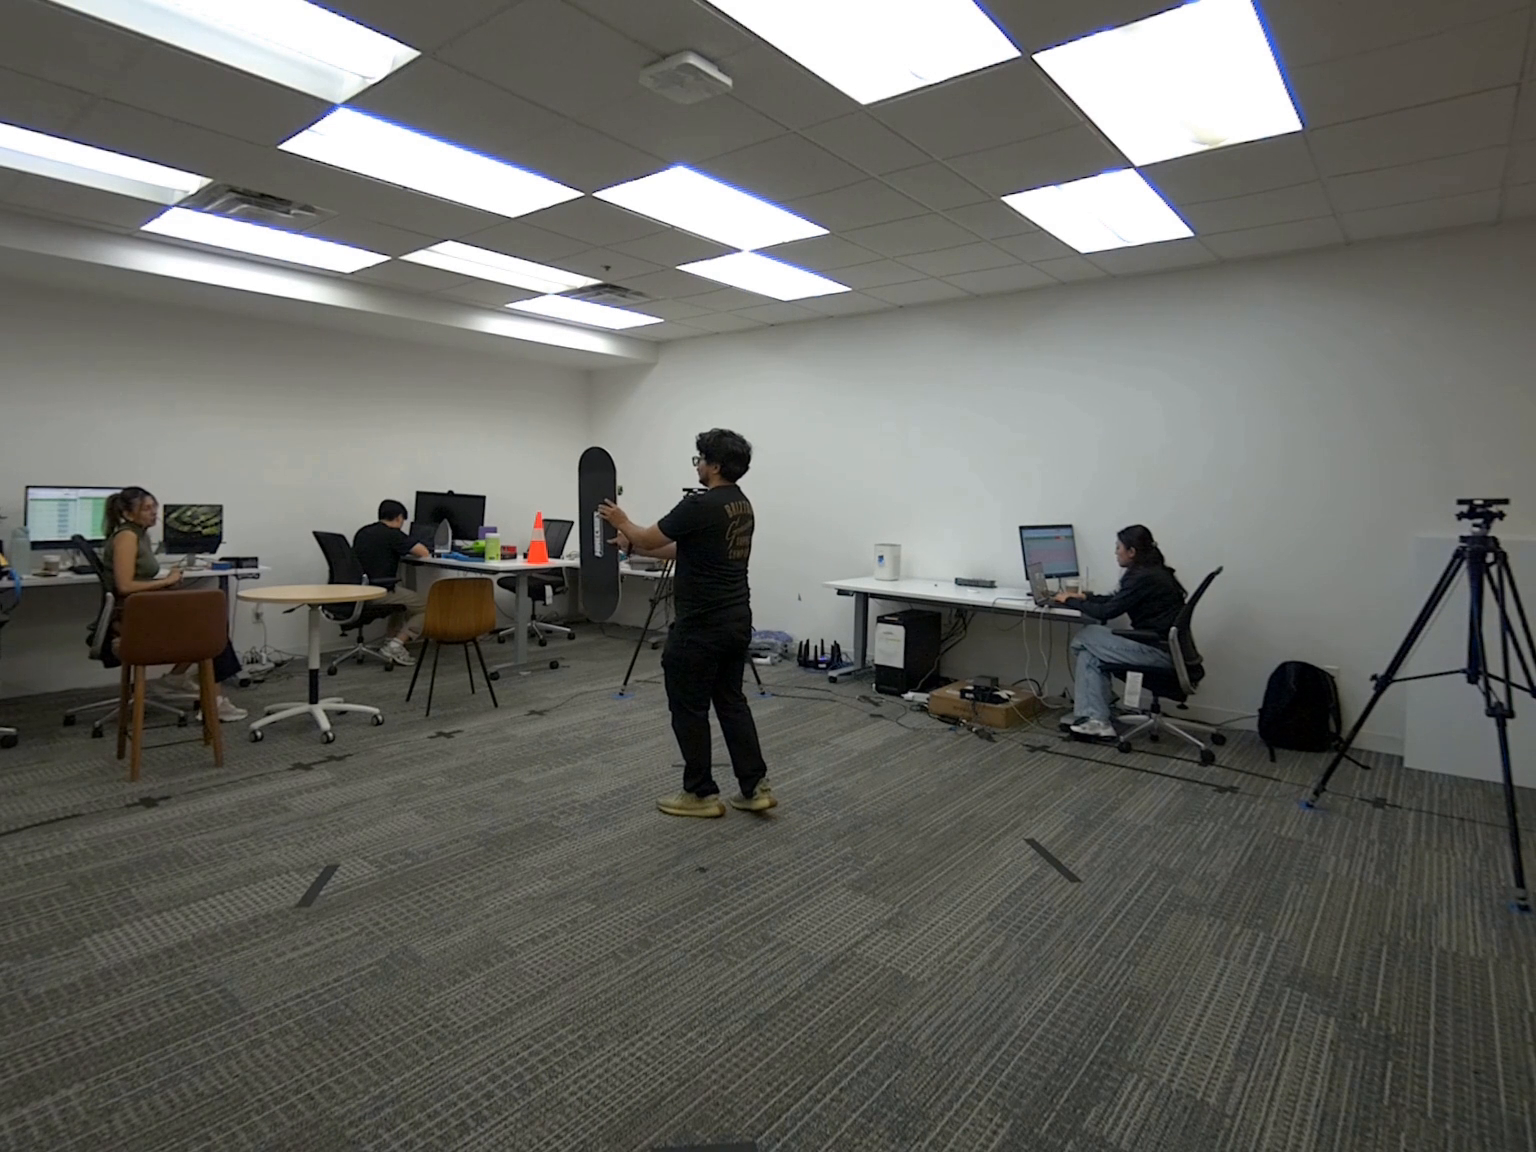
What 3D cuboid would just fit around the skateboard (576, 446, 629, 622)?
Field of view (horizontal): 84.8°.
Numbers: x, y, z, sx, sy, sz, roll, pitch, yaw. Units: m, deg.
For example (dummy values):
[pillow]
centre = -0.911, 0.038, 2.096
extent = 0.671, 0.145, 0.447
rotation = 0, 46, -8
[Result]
[skateboard]
centre = -0.761, -0.191, 3.855
extent = 0.197, 0.789, 0.108
rotation = -4, -5, 19
